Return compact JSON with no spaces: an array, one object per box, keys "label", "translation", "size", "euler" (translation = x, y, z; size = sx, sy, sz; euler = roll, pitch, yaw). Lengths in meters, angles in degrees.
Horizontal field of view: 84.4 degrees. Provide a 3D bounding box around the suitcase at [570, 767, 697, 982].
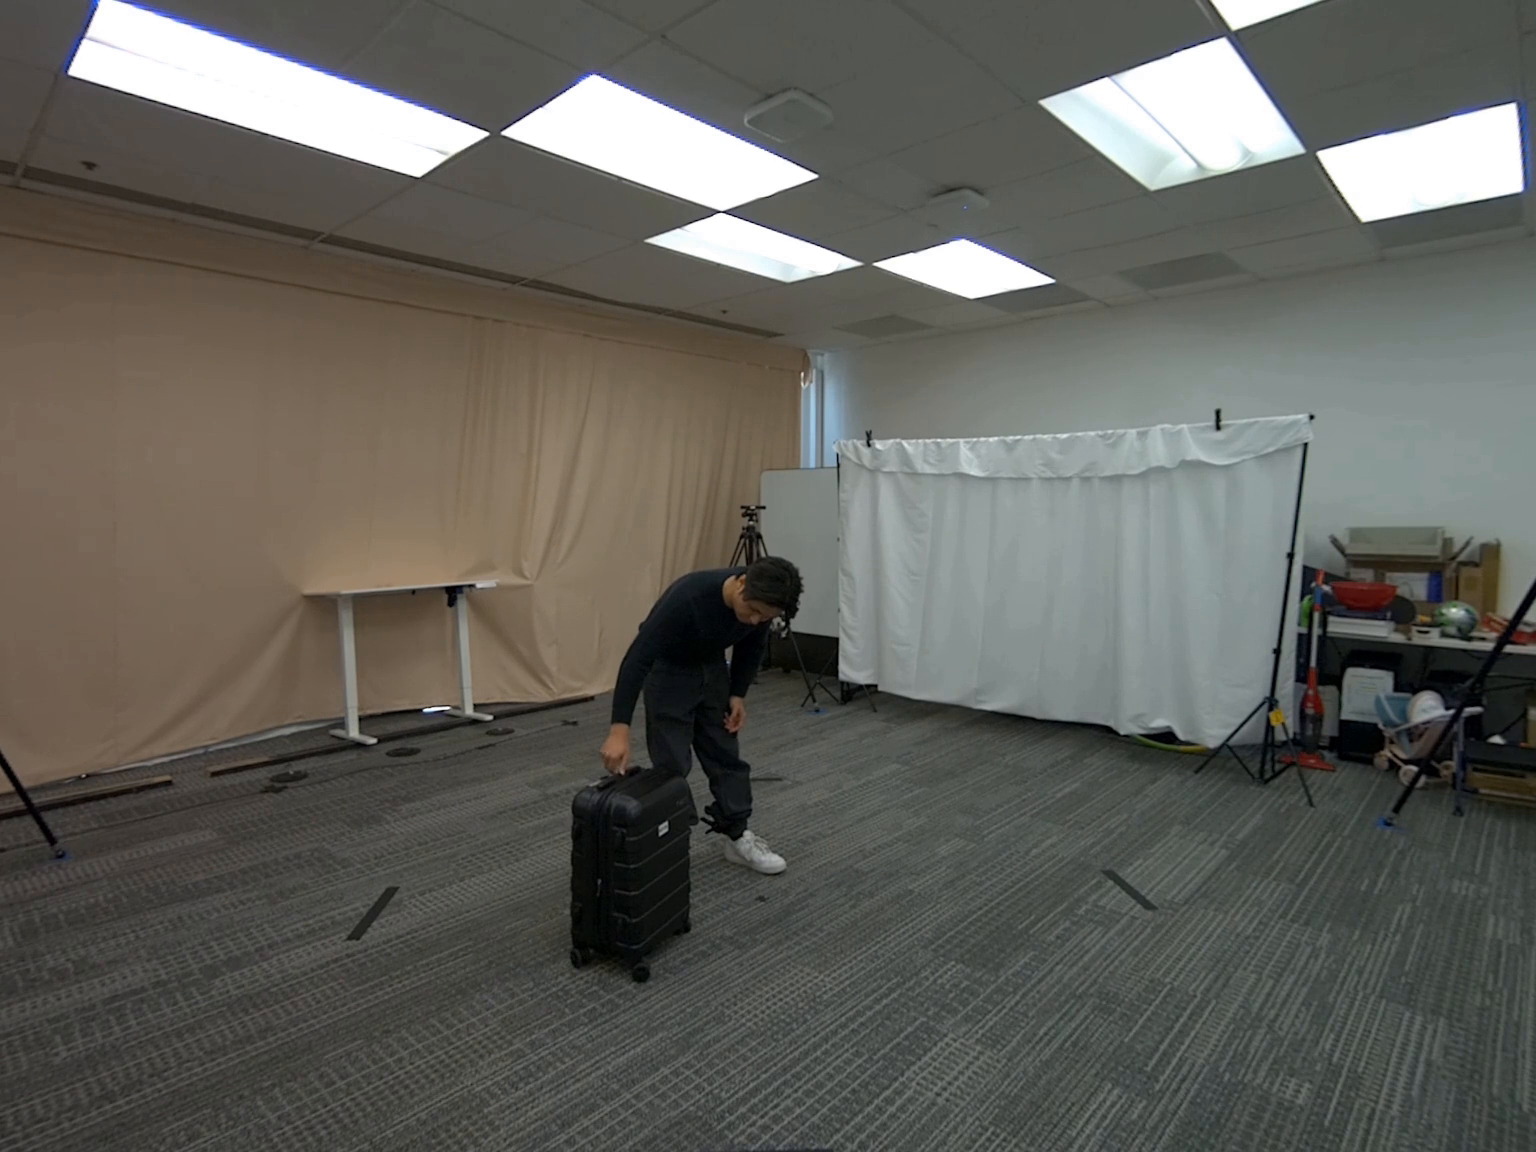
[{"label":"suitcase","translation":[-0.429,0.897,2.642],"size":[0.255,0.548,0.366],"euler":[2,3,24]}]
